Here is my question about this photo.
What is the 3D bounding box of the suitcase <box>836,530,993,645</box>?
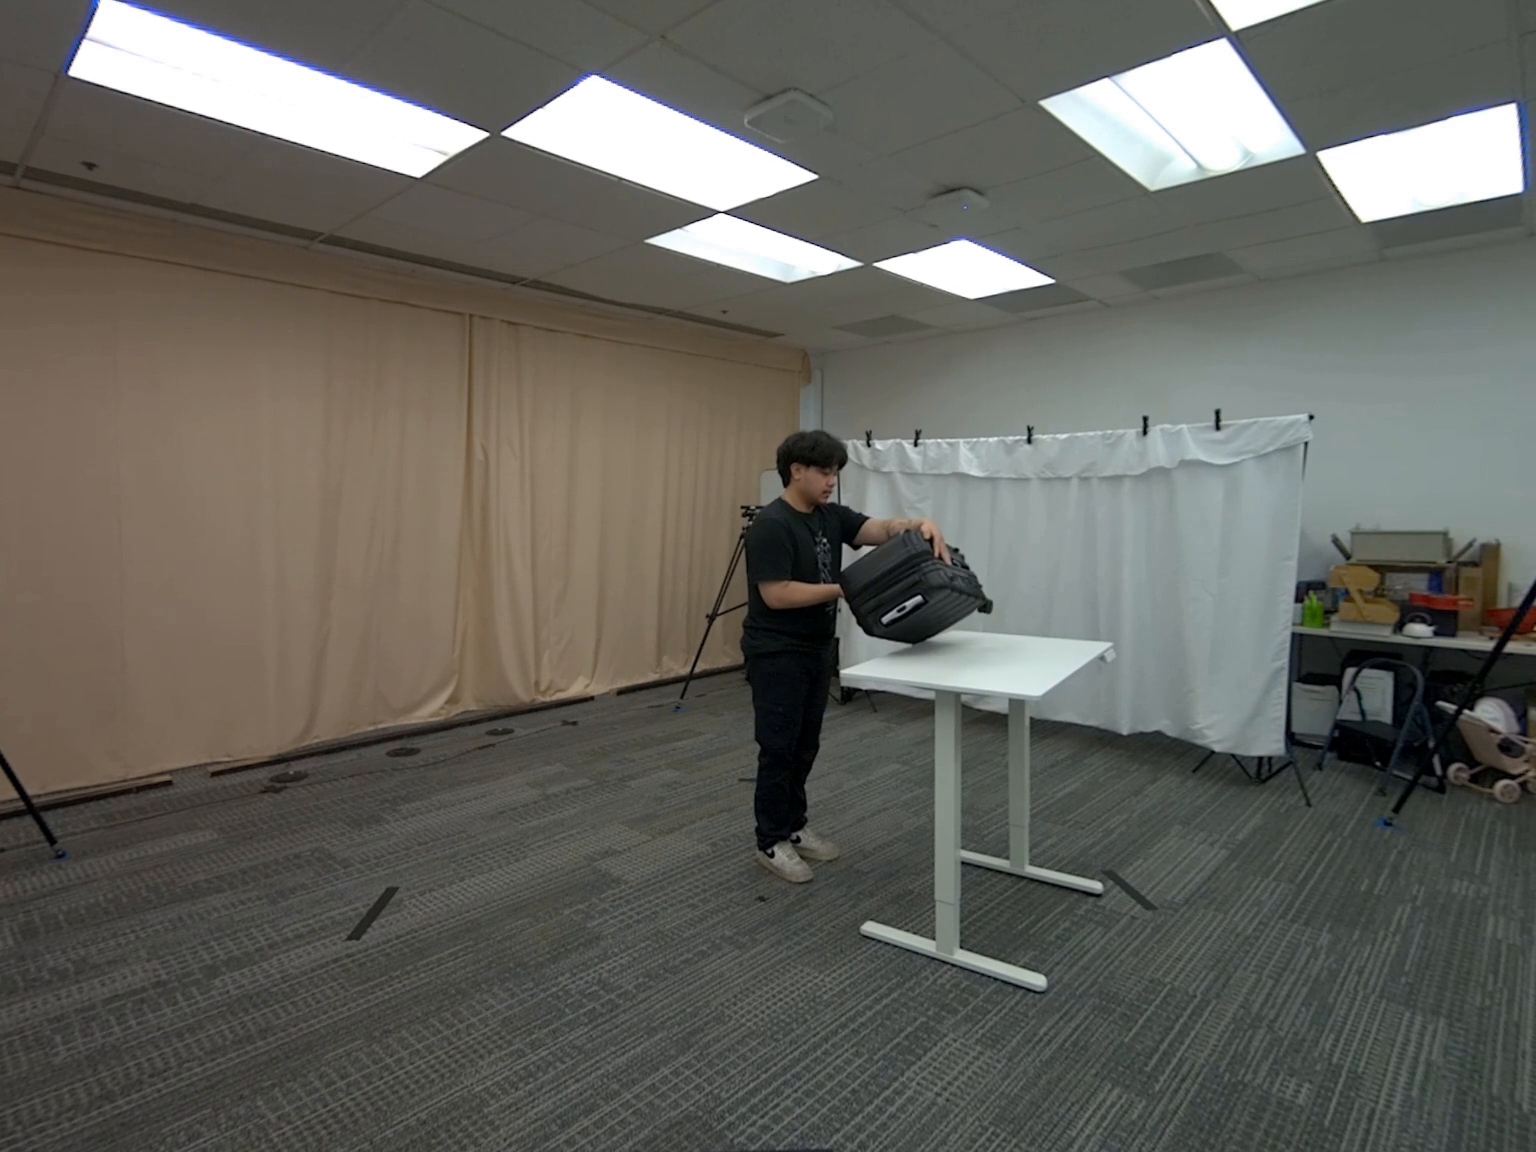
[{"bbox_3d":[0.535,0.053,3.011,0.380,0.254,0.531,-34,-25,23],"label":"suitcase"}]
